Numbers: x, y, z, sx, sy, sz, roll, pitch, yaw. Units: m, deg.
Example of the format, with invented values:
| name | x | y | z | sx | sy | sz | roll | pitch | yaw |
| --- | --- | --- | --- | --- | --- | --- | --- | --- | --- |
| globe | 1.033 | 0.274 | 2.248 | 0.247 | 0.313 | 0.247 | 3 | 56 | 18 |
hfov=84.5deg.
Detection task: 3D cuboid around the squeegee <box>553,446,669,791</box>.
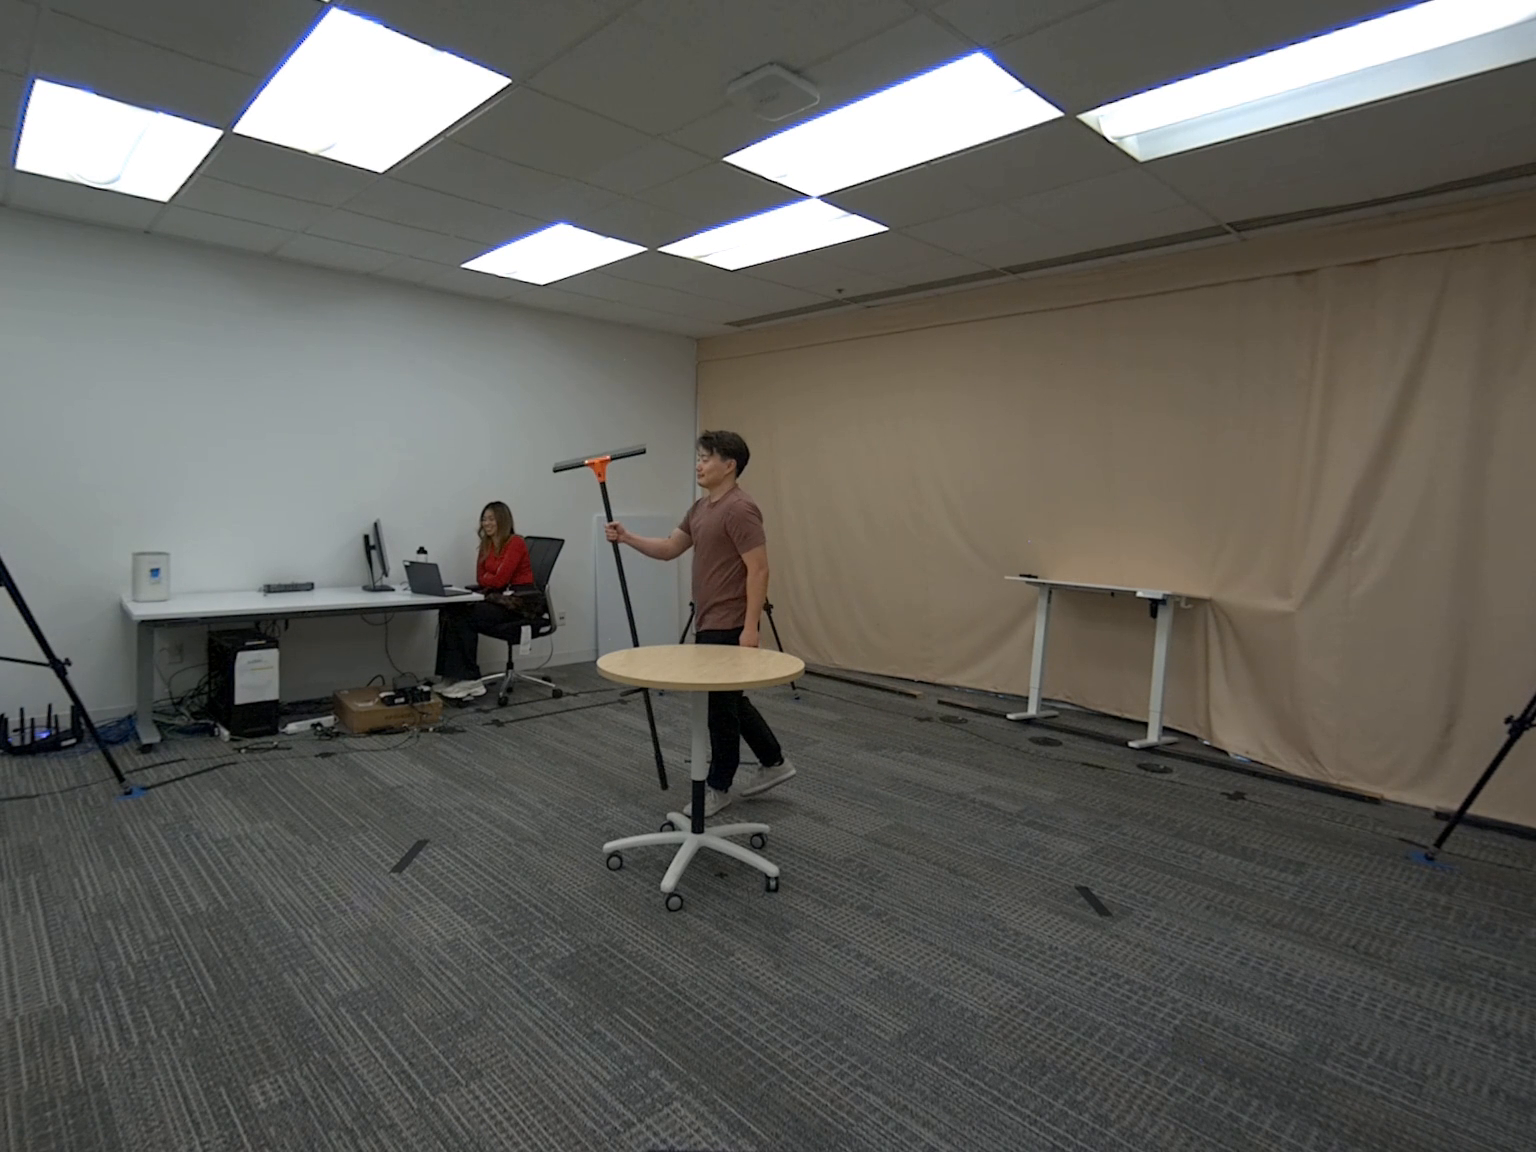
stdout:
| name | x | y | z | sx | sy | sz | roll | pitch | yaw |
| --- | --- | --- | --- | --- | --- | --- | --- | --- | --- |
| squeegee | -0.604 | 0.227 | 3.709 | 0.442 | 1.534 | 0.052 | -11 | 2 | 18 |
